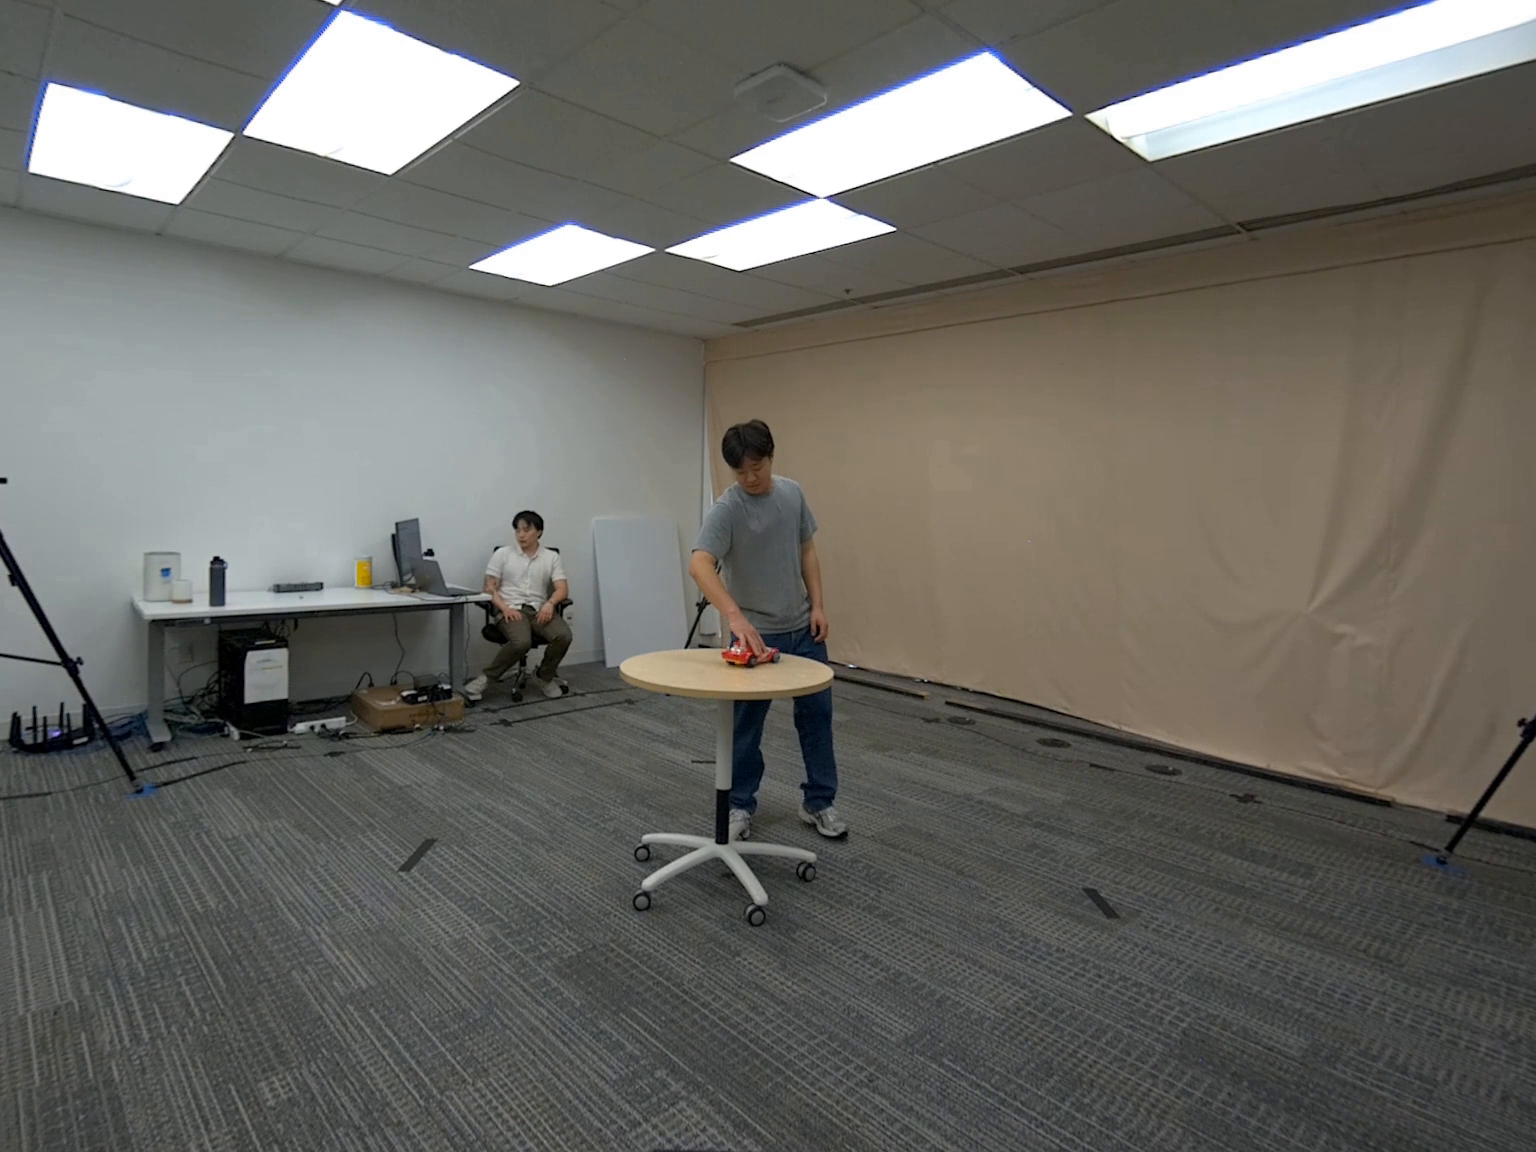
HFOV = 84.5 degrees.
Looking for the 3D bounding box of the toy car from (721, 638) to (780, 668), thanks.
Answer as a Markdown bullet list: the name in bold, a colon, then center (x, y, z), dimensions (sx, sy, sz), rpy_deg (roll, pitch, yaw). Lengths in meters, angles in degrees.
- **toy car**: center (-0.081, 0.296, 3.100), dimensions (0.133, 0.083, 0.247), rpy_deg (5, -6, 38)
